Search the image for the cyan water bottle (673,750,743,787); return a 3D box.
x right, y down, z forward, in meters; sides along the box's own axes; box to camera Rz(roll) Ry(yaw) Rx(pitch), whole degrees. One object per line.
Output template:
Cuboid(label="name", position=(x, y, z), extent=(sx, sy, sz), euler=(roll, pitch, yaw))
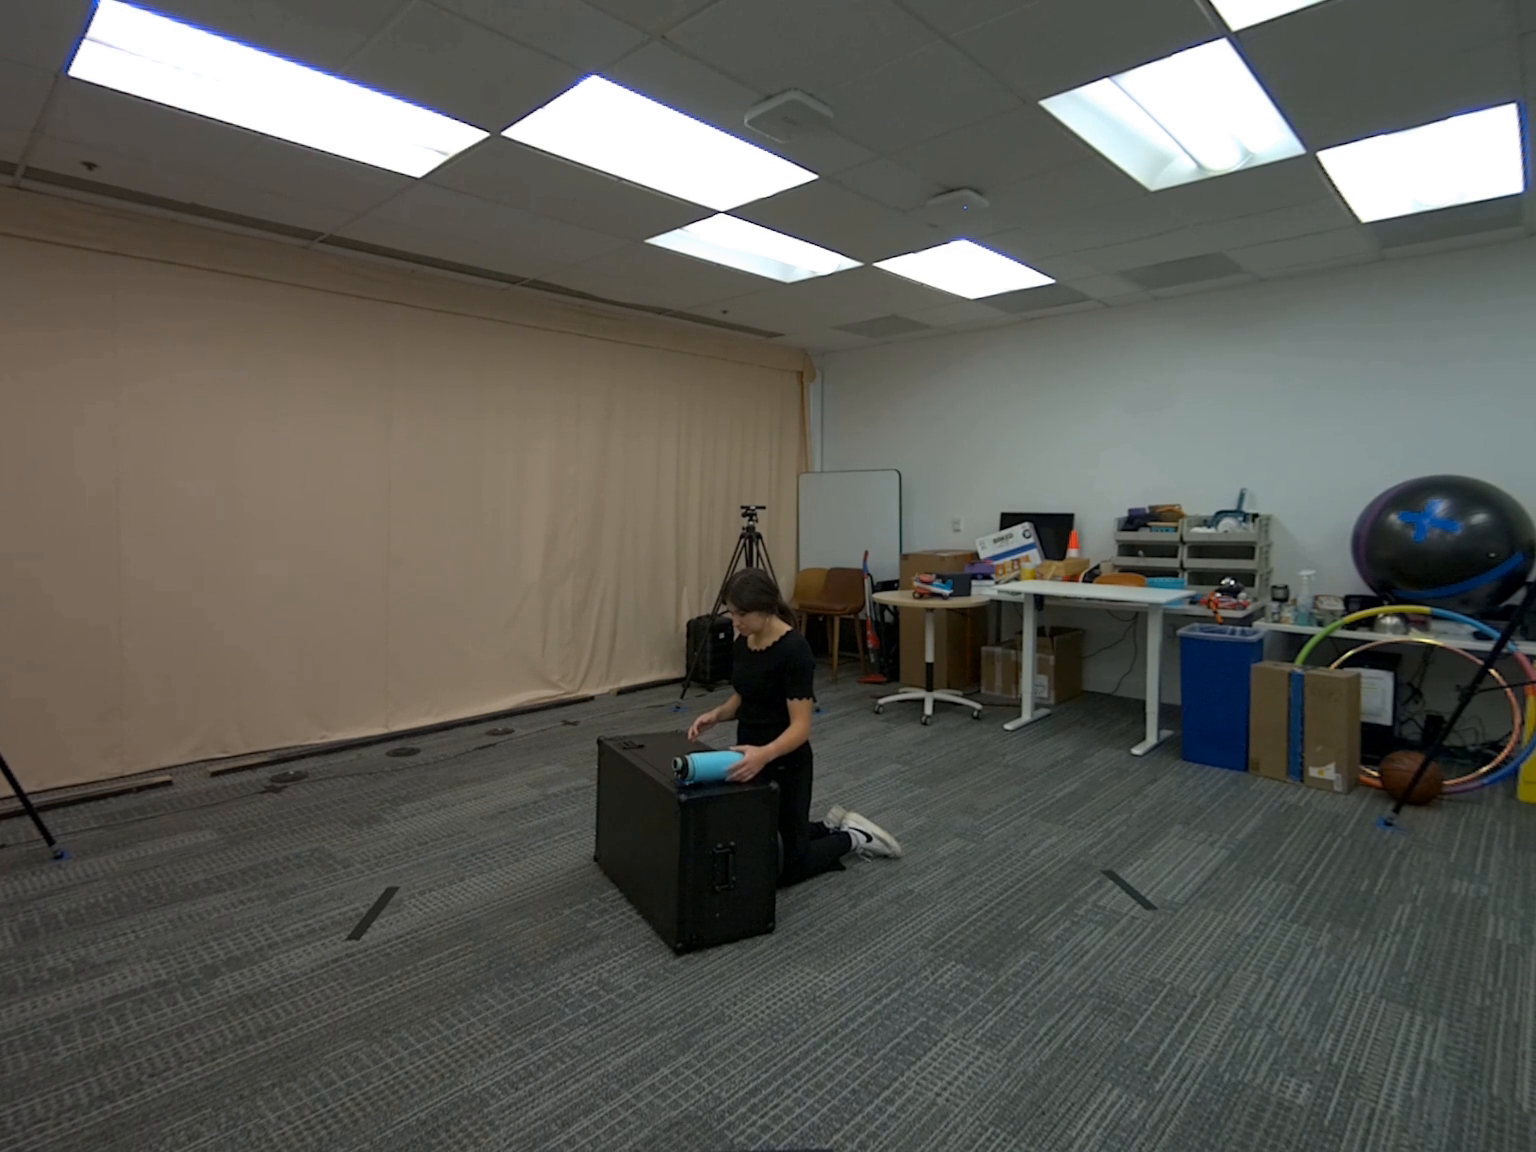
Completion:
Cuboid(label="cyan water bottle", position=(-0.182, 0.620, 2.756), extent=(0.275, 0.092, 0.095), euler=(3, 1, -30))
